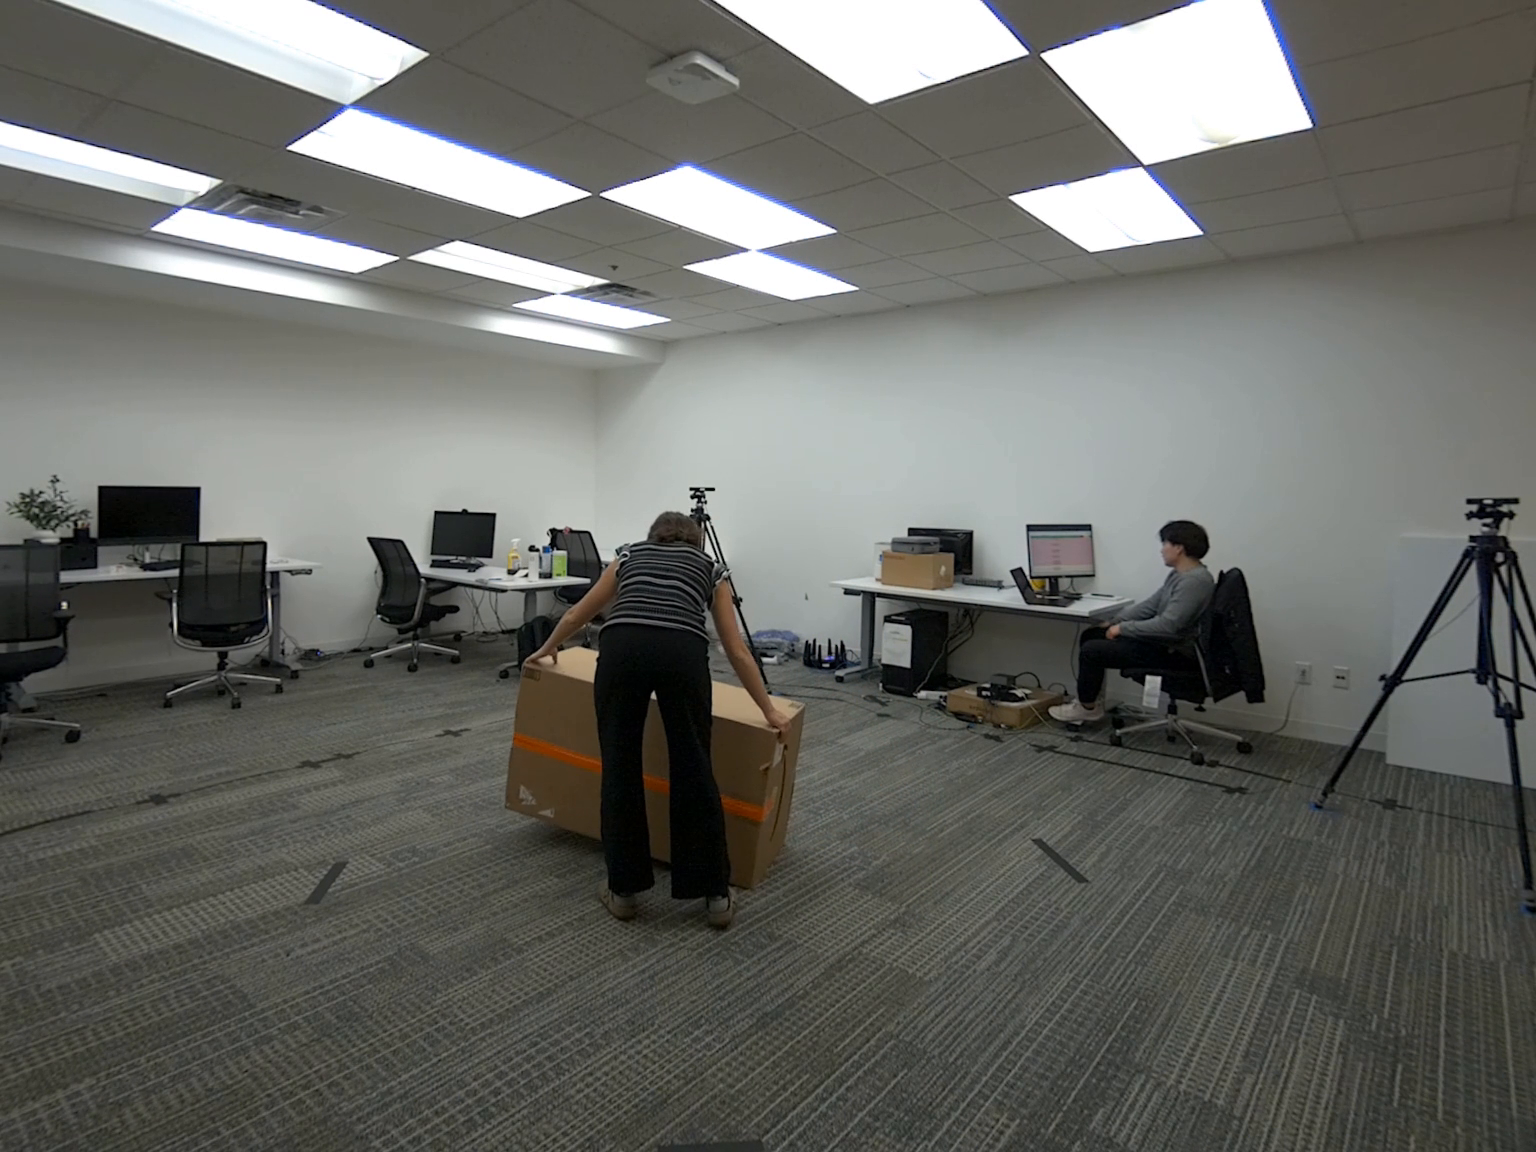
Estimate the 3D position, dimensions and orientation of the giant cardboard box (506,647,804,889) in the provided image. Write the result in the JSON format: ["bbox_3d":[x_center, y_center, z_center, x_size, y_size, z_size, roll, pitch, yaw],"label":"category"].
[{"bbox_3d":[-0.447,0.694,3.282,1.049,0.574,0.419,11,7,18],"label":"giant cardboard box"}]
